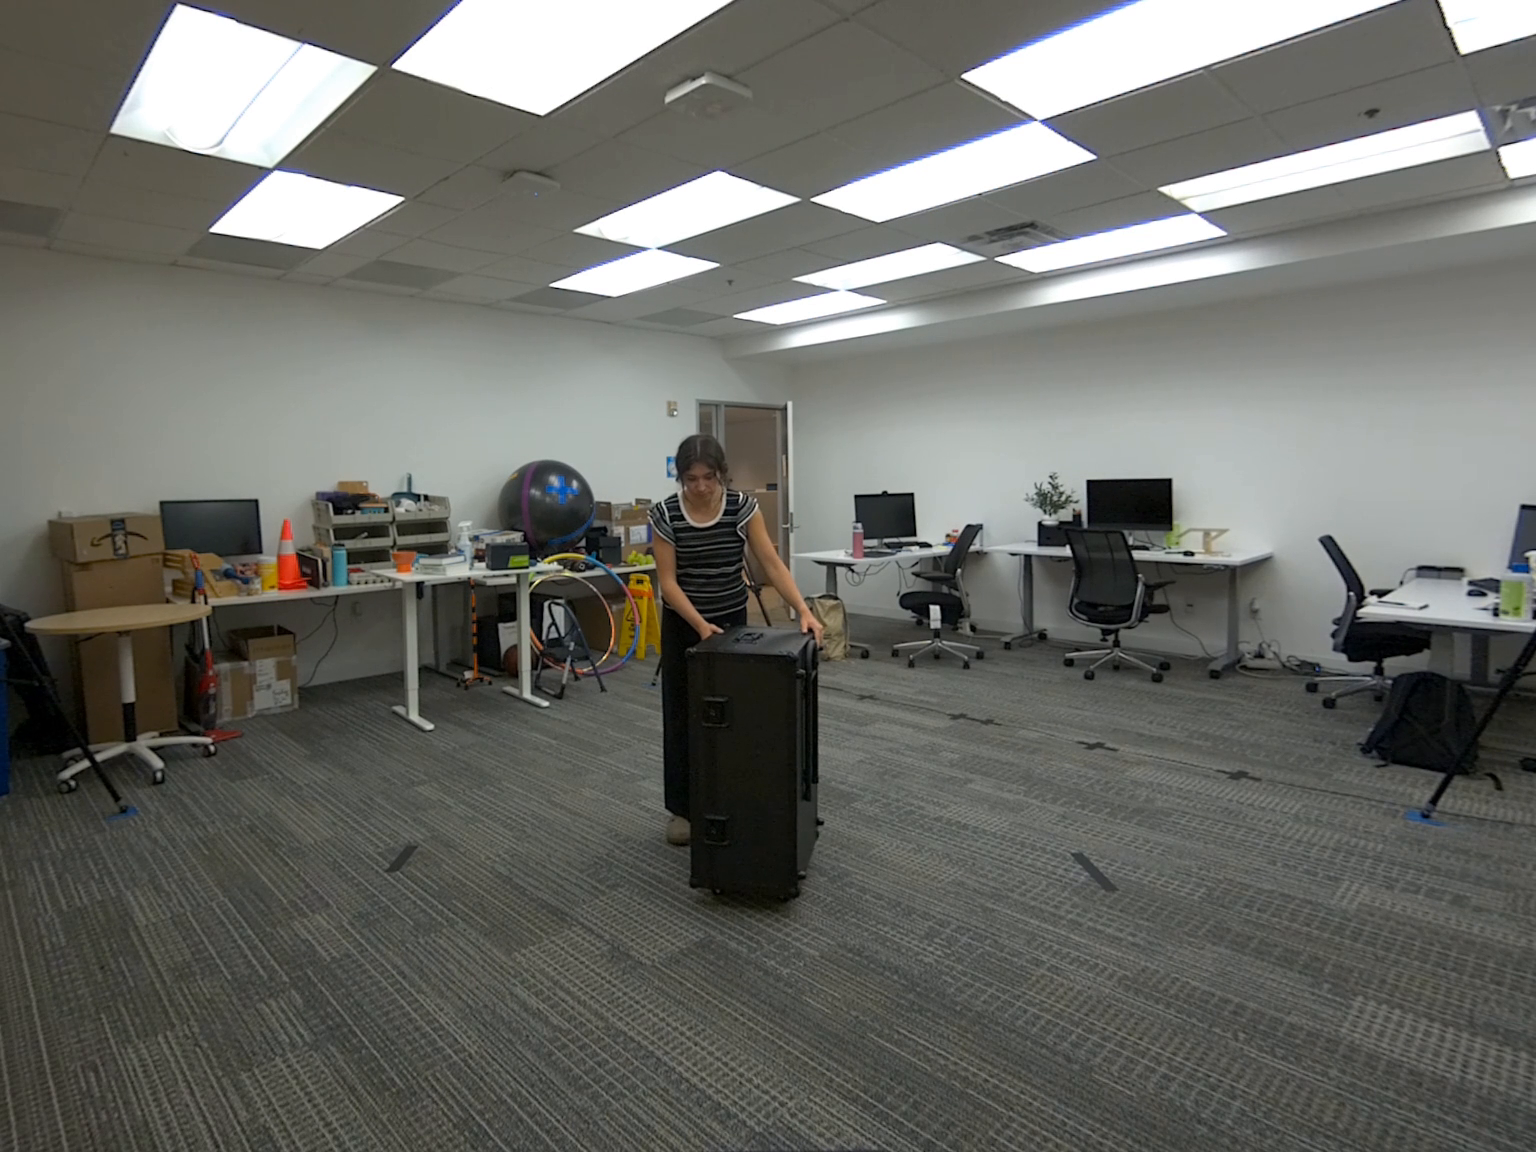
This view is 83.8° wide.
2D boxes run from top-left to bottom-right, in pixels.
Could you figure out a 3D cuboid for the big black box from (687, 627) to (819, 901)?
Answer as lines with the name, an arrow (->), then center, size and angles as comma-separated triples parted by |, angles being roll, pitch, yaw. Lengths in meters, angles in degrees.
big black box -> -0.015, 0.641, 2.944 | 0.401, 0.858, 0.517 | 0, 5, 11
